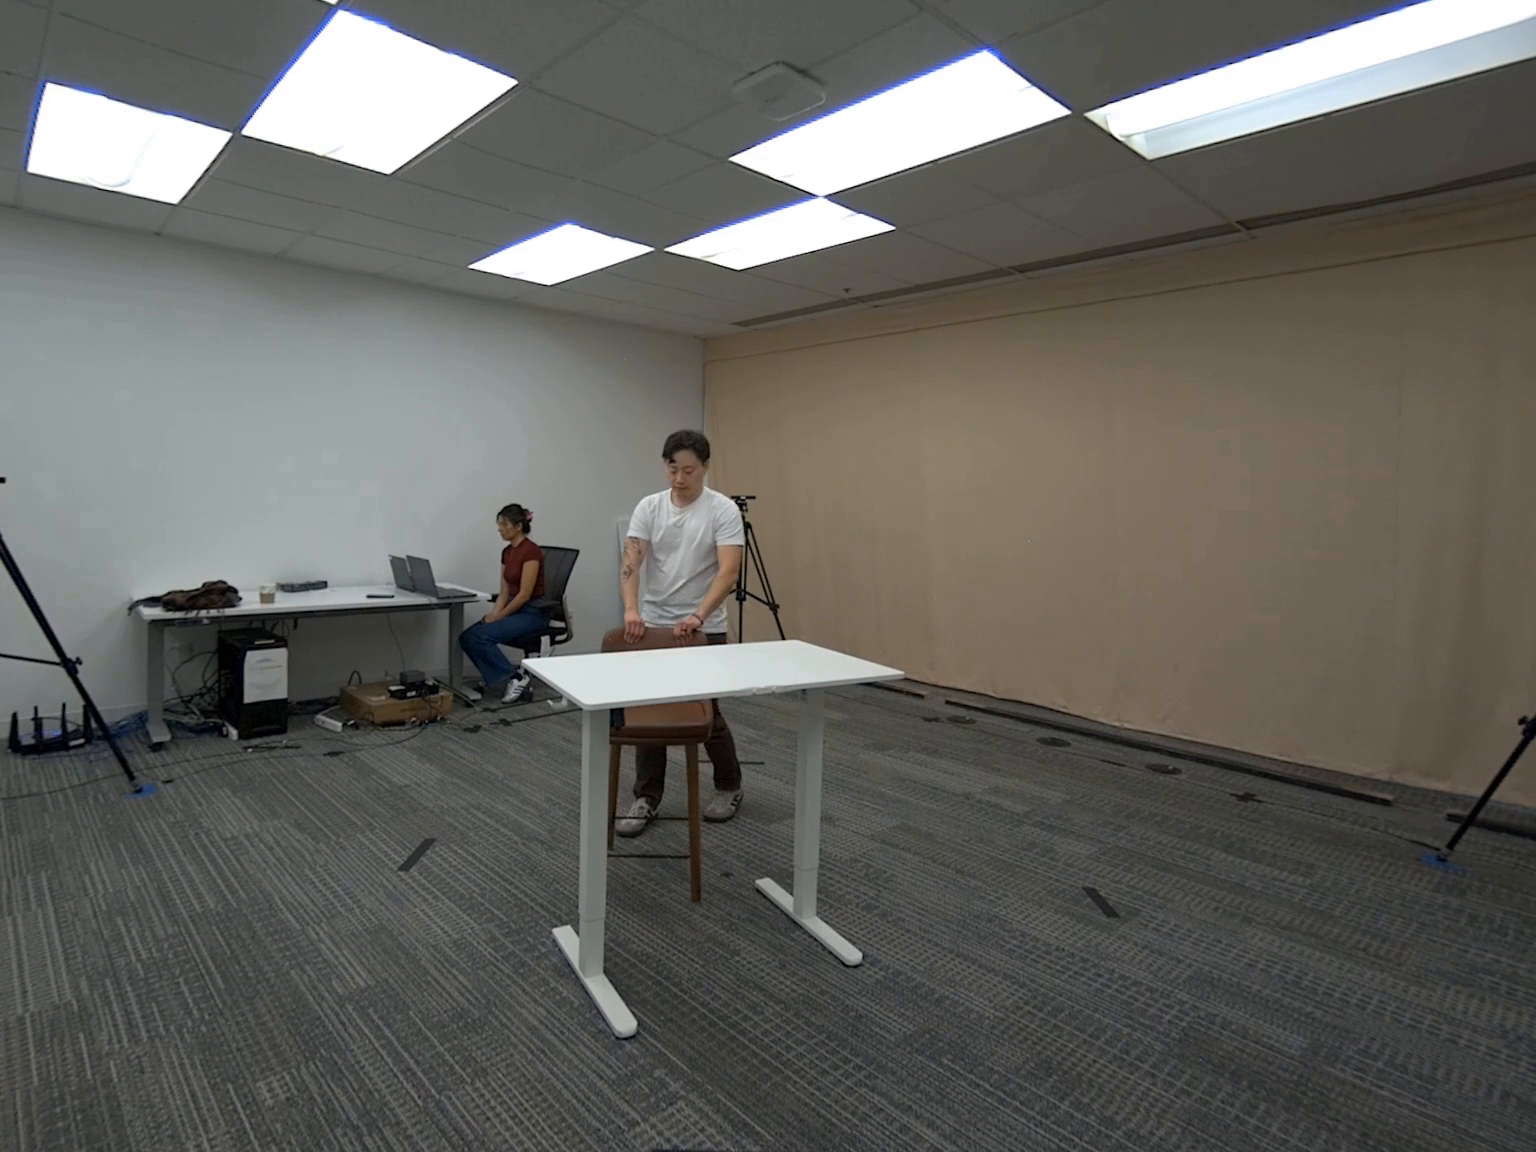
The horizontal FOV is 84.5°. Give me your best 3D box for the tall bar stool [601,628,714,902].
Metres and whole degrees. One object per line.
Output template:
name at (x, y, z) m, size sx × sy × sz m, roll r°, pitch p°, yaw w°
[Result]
tall bar stool at (-0.443, 0.661, 3.091) m, size 0.456 × 0.889 × 0.468 m, roll 1°, pitch 1°, yaw -1°
